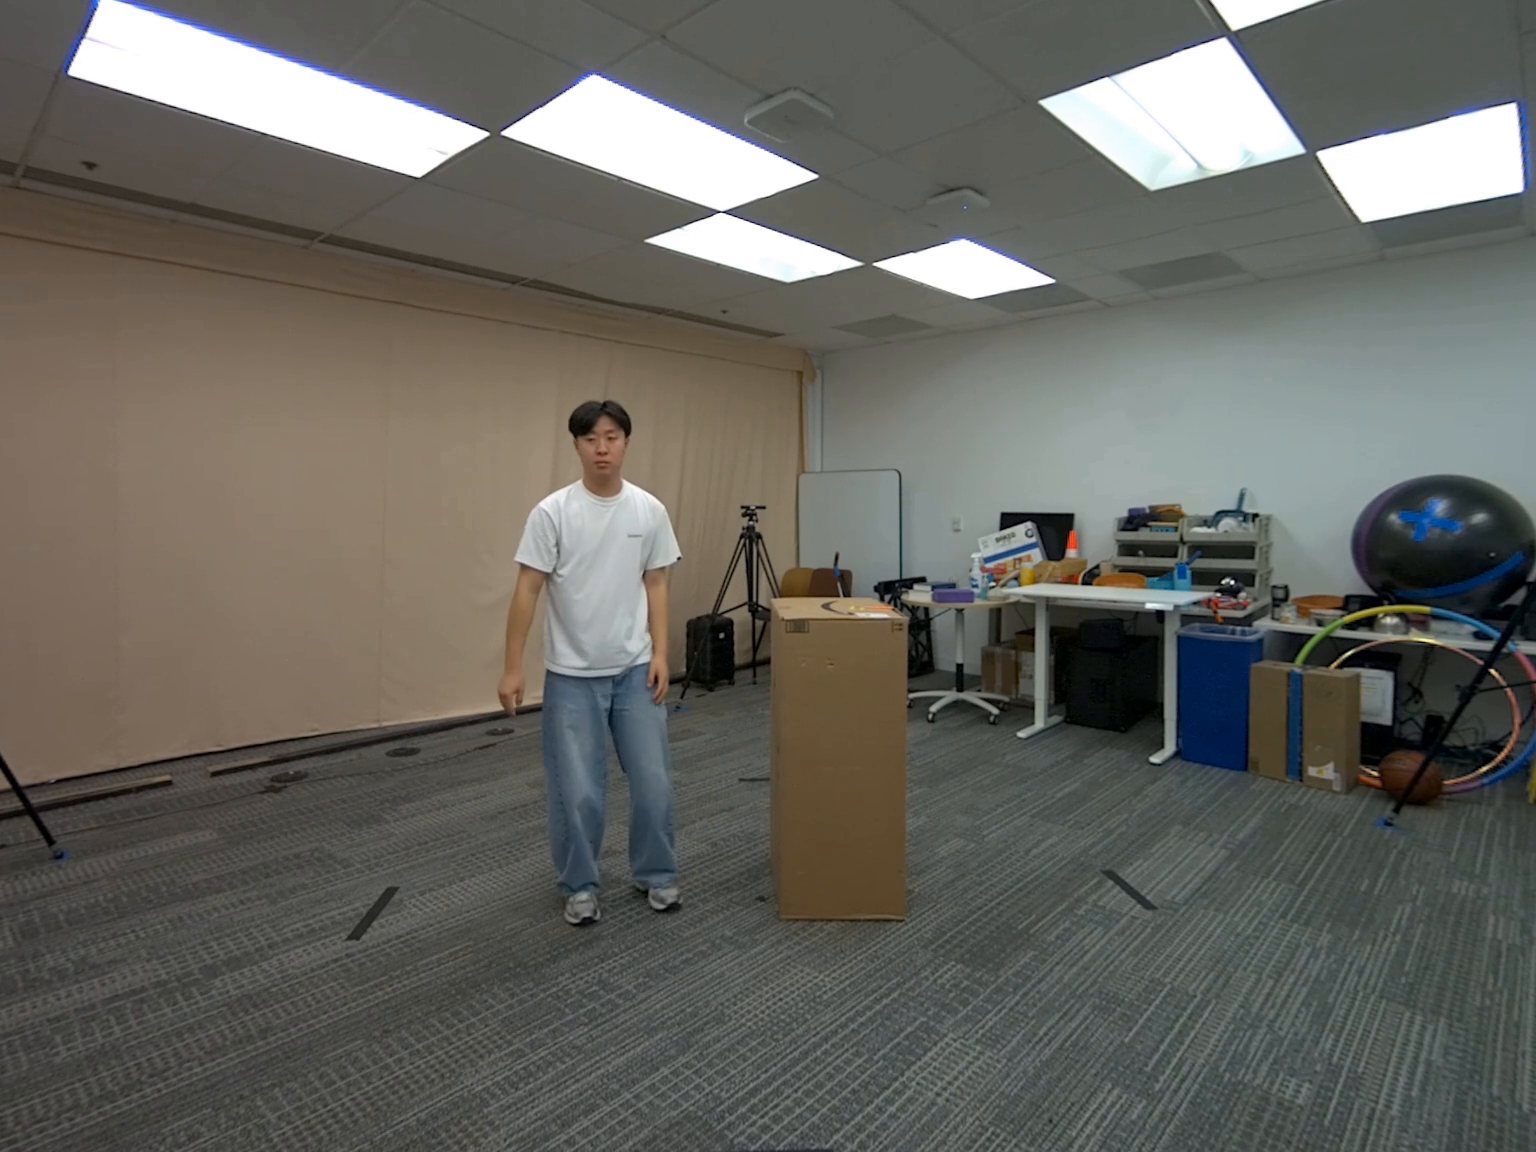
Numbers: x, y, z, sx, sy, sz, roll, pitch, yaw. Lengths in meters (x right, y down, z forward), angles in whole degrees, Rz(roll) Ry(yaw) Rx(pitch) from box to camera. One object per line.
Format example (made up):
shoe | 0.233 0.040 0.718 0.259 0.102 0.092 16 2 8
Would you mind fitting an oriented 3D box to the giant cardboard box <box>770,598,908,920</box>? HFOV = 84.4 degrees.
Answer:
giant cardboard box | 0.248 0.628 3.085 0.425 1.024 0.580 0 3 -4
